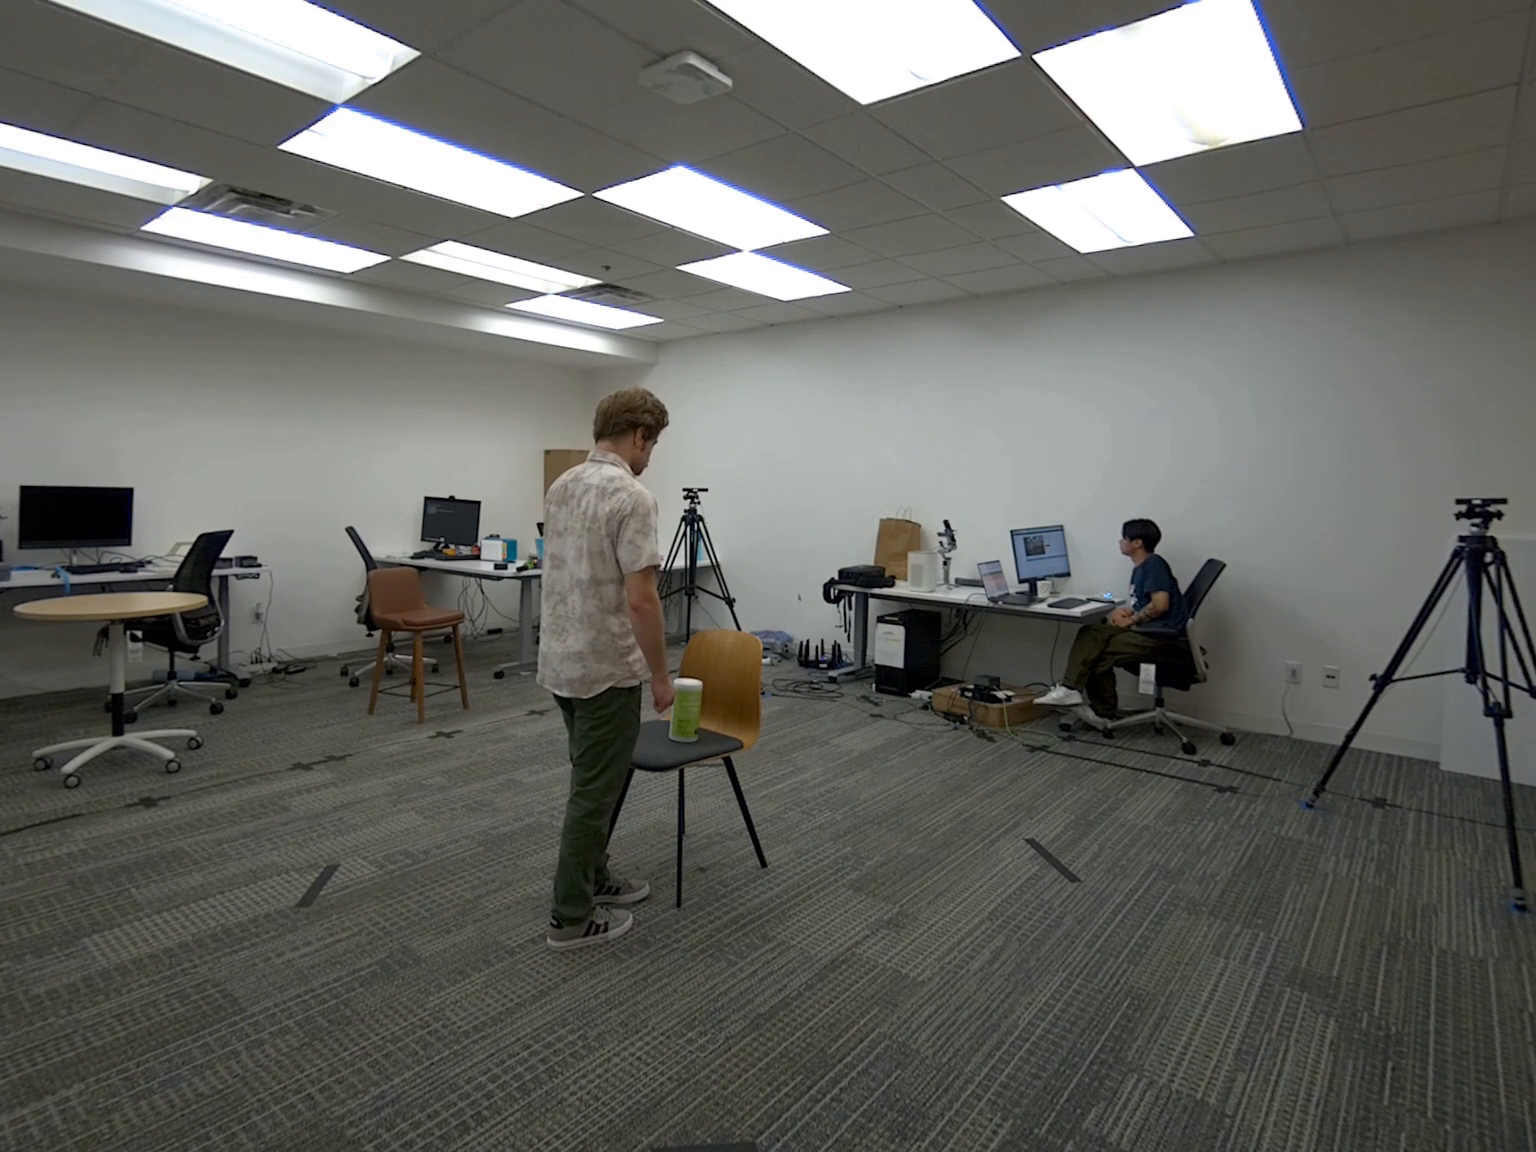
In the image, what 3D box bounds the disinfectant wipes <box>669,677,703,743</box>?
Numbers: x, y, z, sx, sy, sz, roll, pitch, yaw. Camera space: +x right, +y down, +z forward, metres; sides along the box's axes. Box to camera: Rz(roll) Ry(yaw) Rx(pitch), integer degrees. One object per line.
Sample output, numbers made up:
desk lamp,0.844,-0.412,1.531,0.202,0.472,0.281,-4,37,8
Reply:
disinfectant wipes,-0.314,0.489,3.127,0.117,0.217,0.118,5,2,-2
